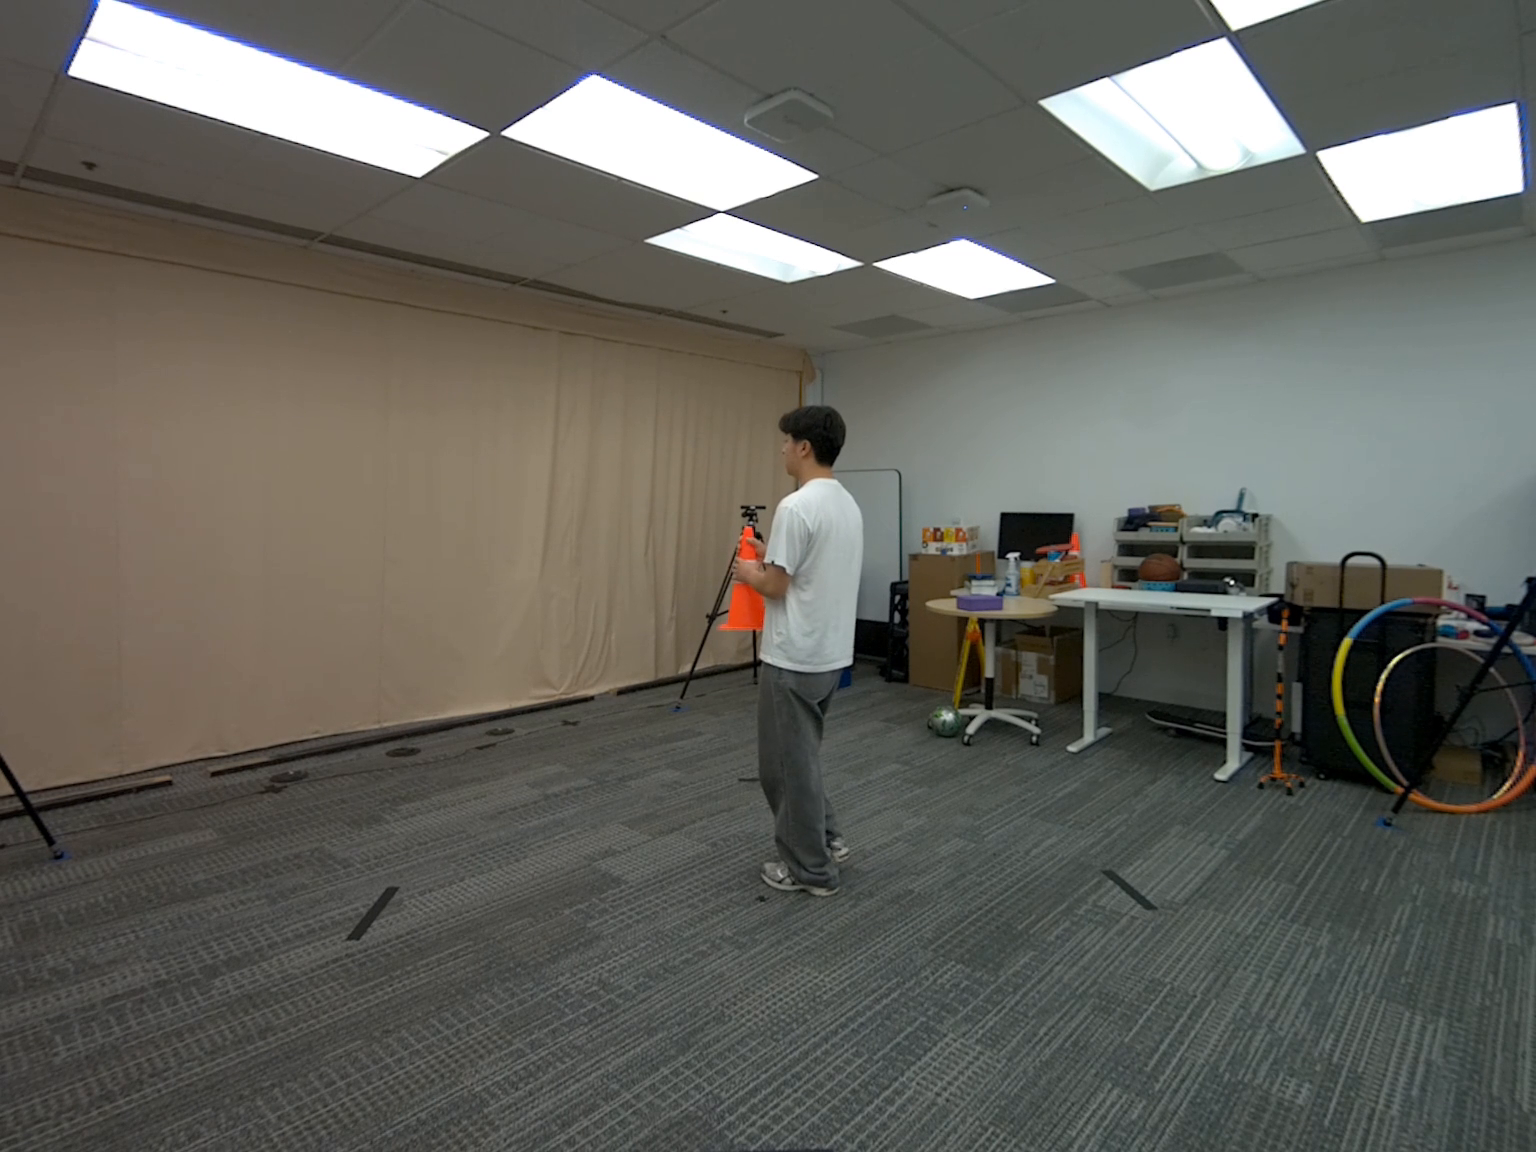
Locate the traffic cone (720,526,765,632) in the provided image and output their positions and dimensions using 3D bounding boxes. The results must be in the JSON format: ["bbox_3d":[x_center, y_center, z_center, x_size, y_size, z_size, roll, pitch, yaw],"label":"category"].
[{"bbox_3d":[-0.063,0.009,3.235,0.207,0.383,0.202,2,0,14],"label":"traffic cone"}]
